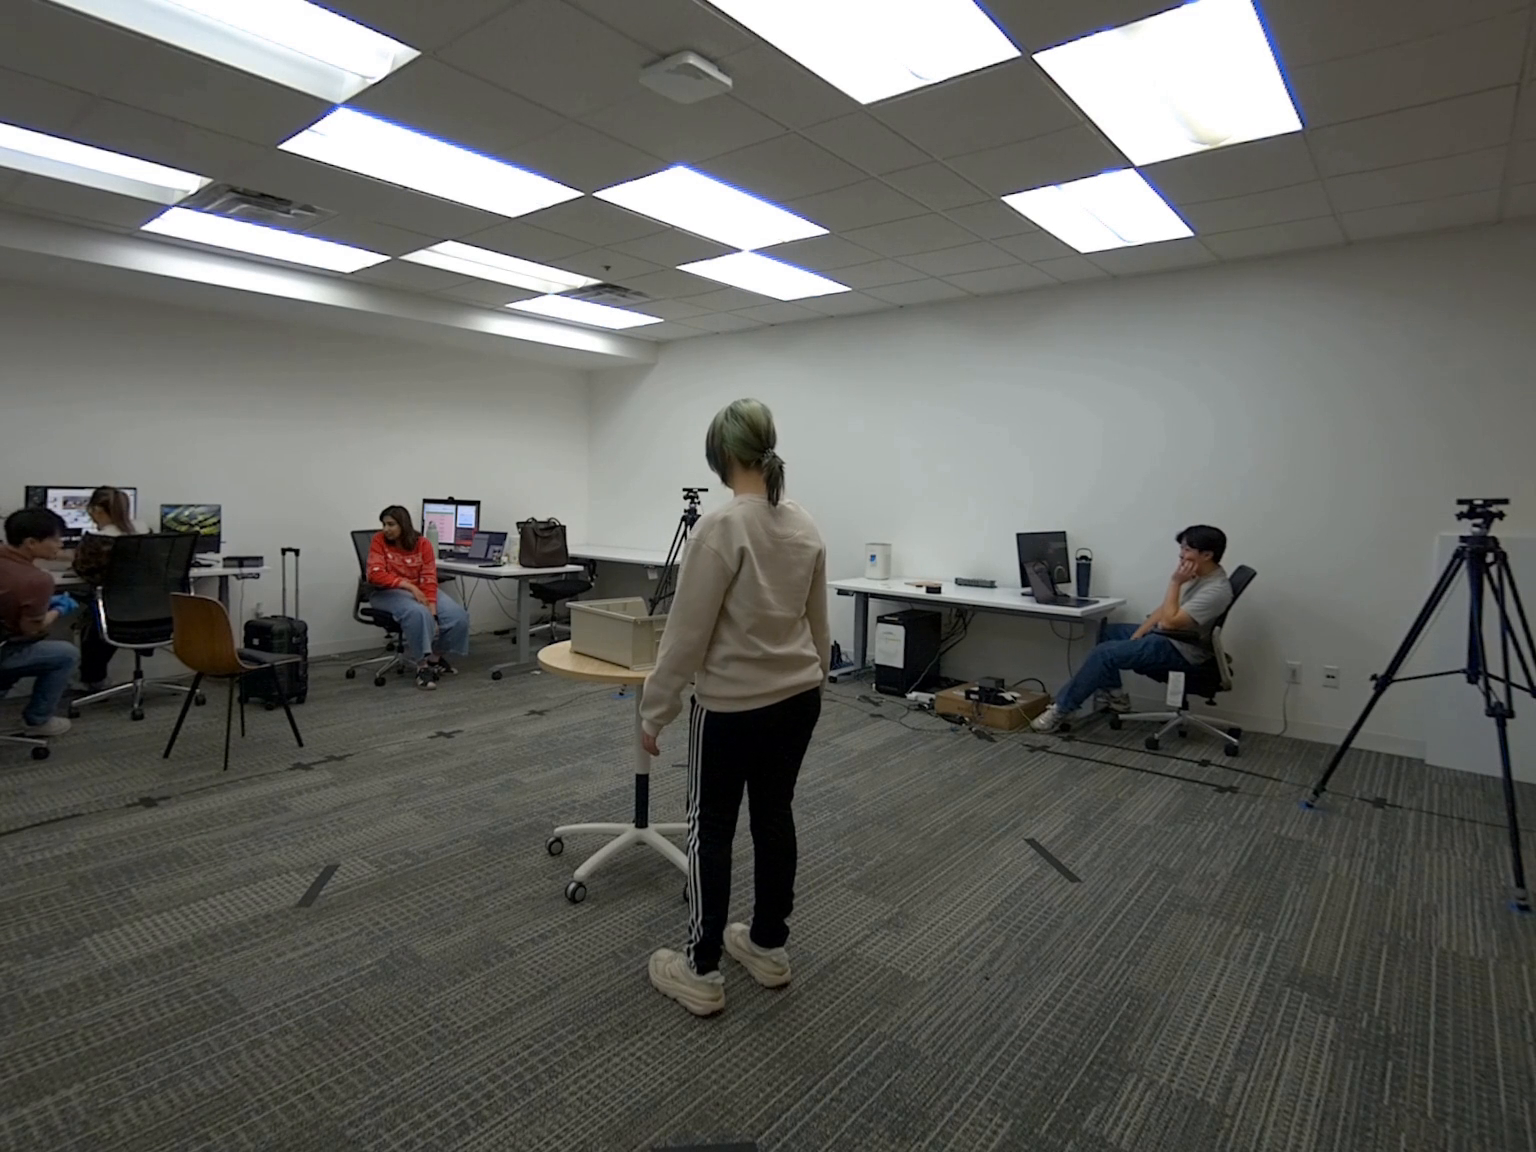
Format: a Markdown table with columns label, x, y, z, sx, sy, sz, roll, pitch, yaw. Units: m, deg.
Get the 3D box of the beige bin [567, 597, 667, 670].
| label | x | y | z | sx | sy | sz | roll | pitch | yaw |
| --- | --- | --- | --- | --- | --- | --- | --- | --- | --- |
| beige bin | -0.467 | 0.197 | 3.063 | 0.366 | 0.188 | 0.437 | -5 | 8 | -43 |
